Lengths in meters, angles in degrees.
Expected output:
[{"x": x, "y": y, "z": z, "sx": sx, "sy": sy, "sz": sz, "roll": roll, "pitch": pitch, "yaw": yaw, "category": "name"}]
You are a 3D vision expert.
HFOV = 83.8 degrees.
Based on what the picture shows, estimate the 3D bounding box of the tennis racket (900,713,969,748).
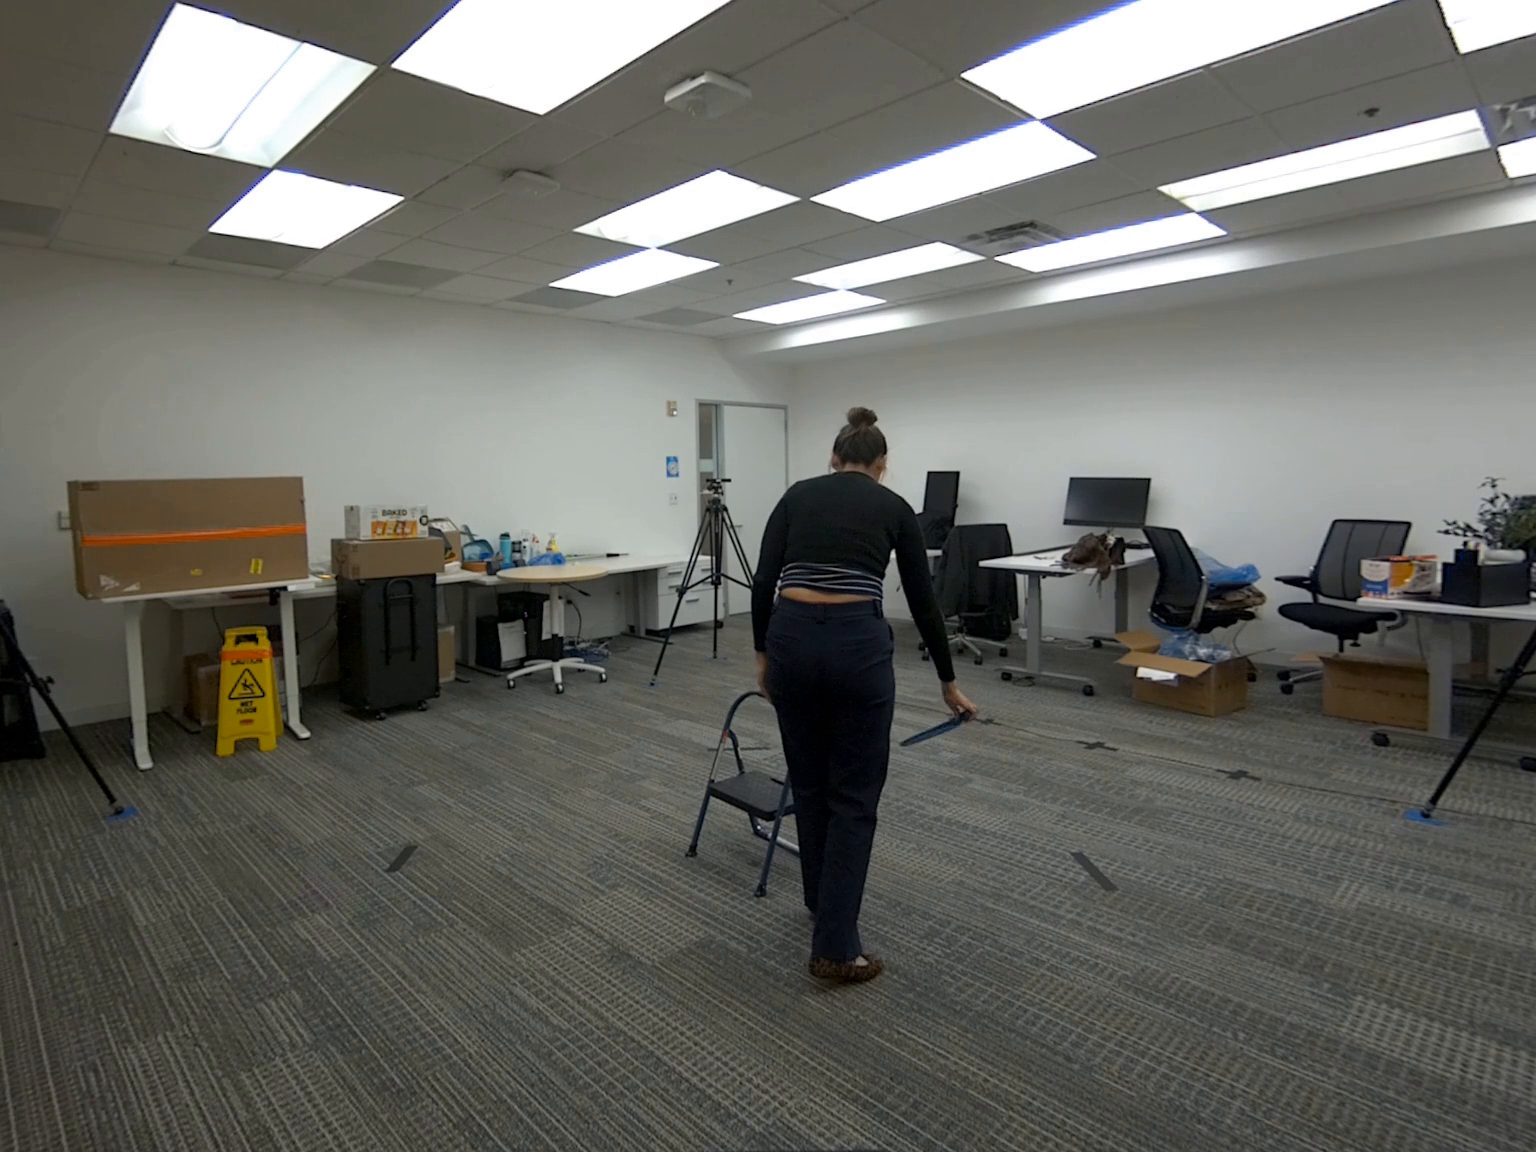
[{"x": 0.576, "y": 0.513, "z": 2.839, "sx": 0.210, "sy": 0.032, "sz": 0.431, "roll": -12, "pitch": -17, "yaw": -22, "category": "tennis racket"}]
